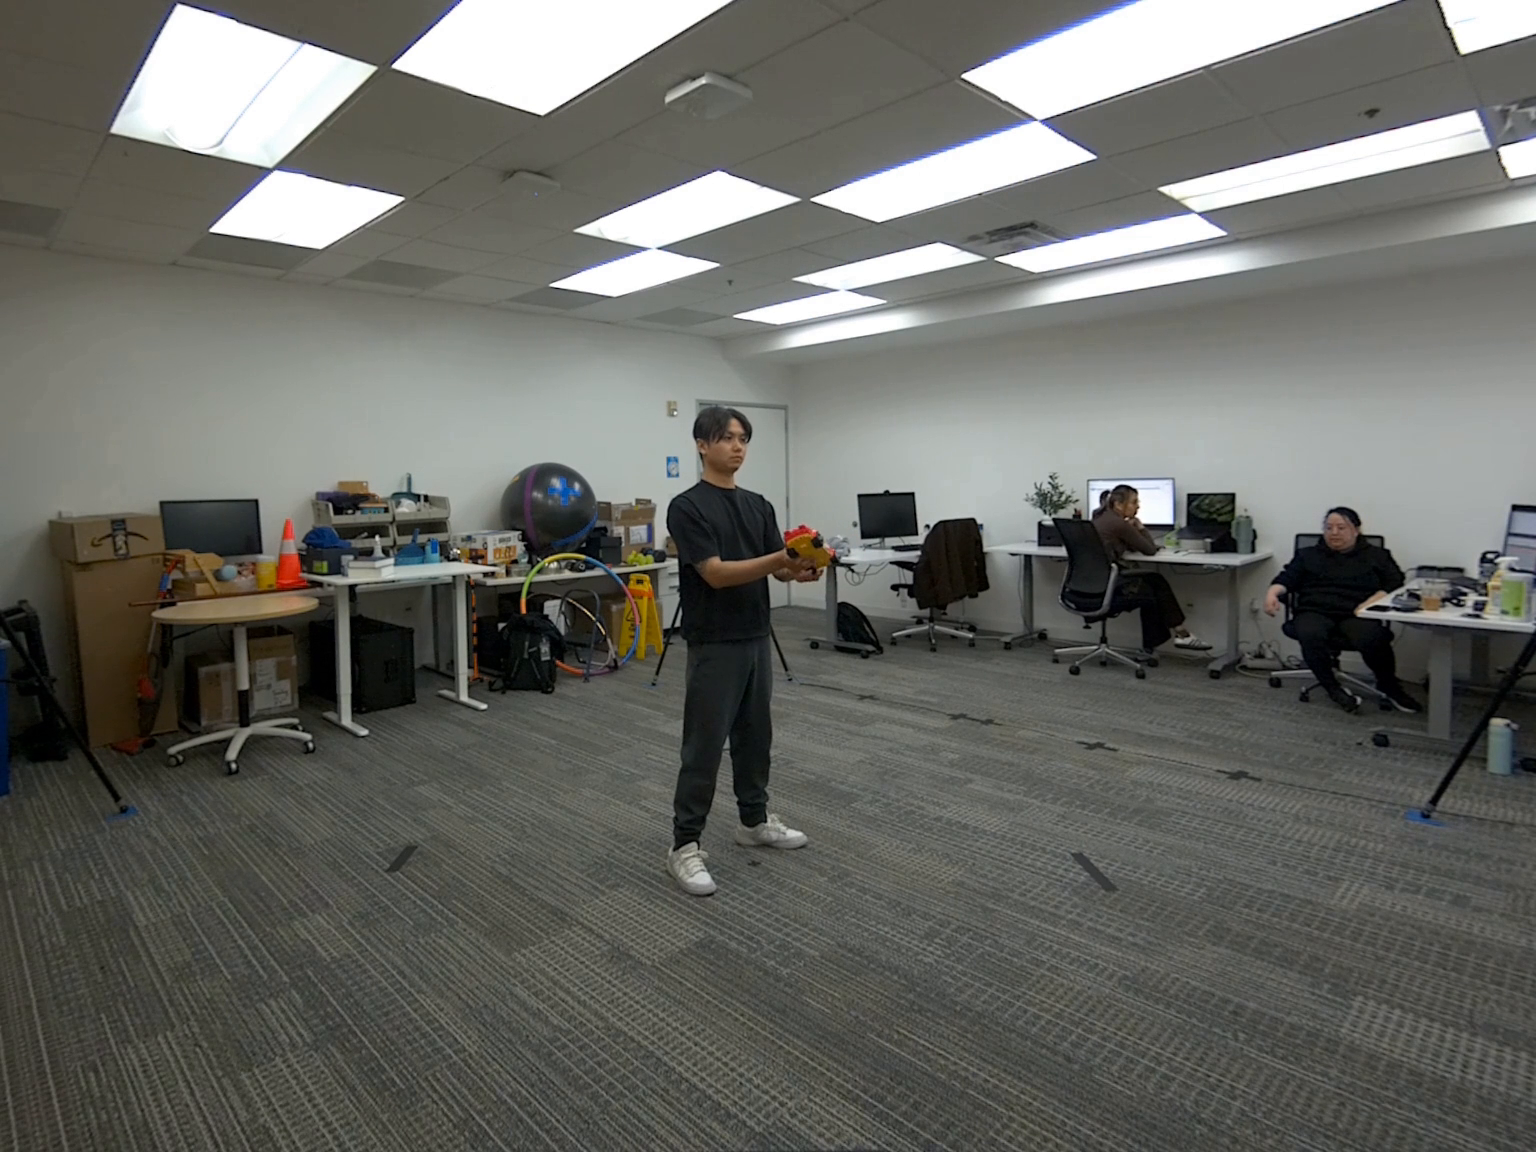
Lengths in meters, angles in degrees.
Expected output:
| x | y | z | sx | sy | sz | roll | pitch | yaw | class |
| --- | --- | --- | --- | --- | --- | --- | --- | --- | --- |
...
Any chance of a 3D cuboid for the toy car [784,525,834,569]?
| x | y | z | sx | sy | sz | roll | pitch | yaw | class |
| --- | --- | --- | --- | --- | --- | --- | --- | --- | --- |
| 0.143 | -0.089 | 2.739 | 0.131 | 0.086 | 0.244 | -24 | -43 | 20 | toy car |
